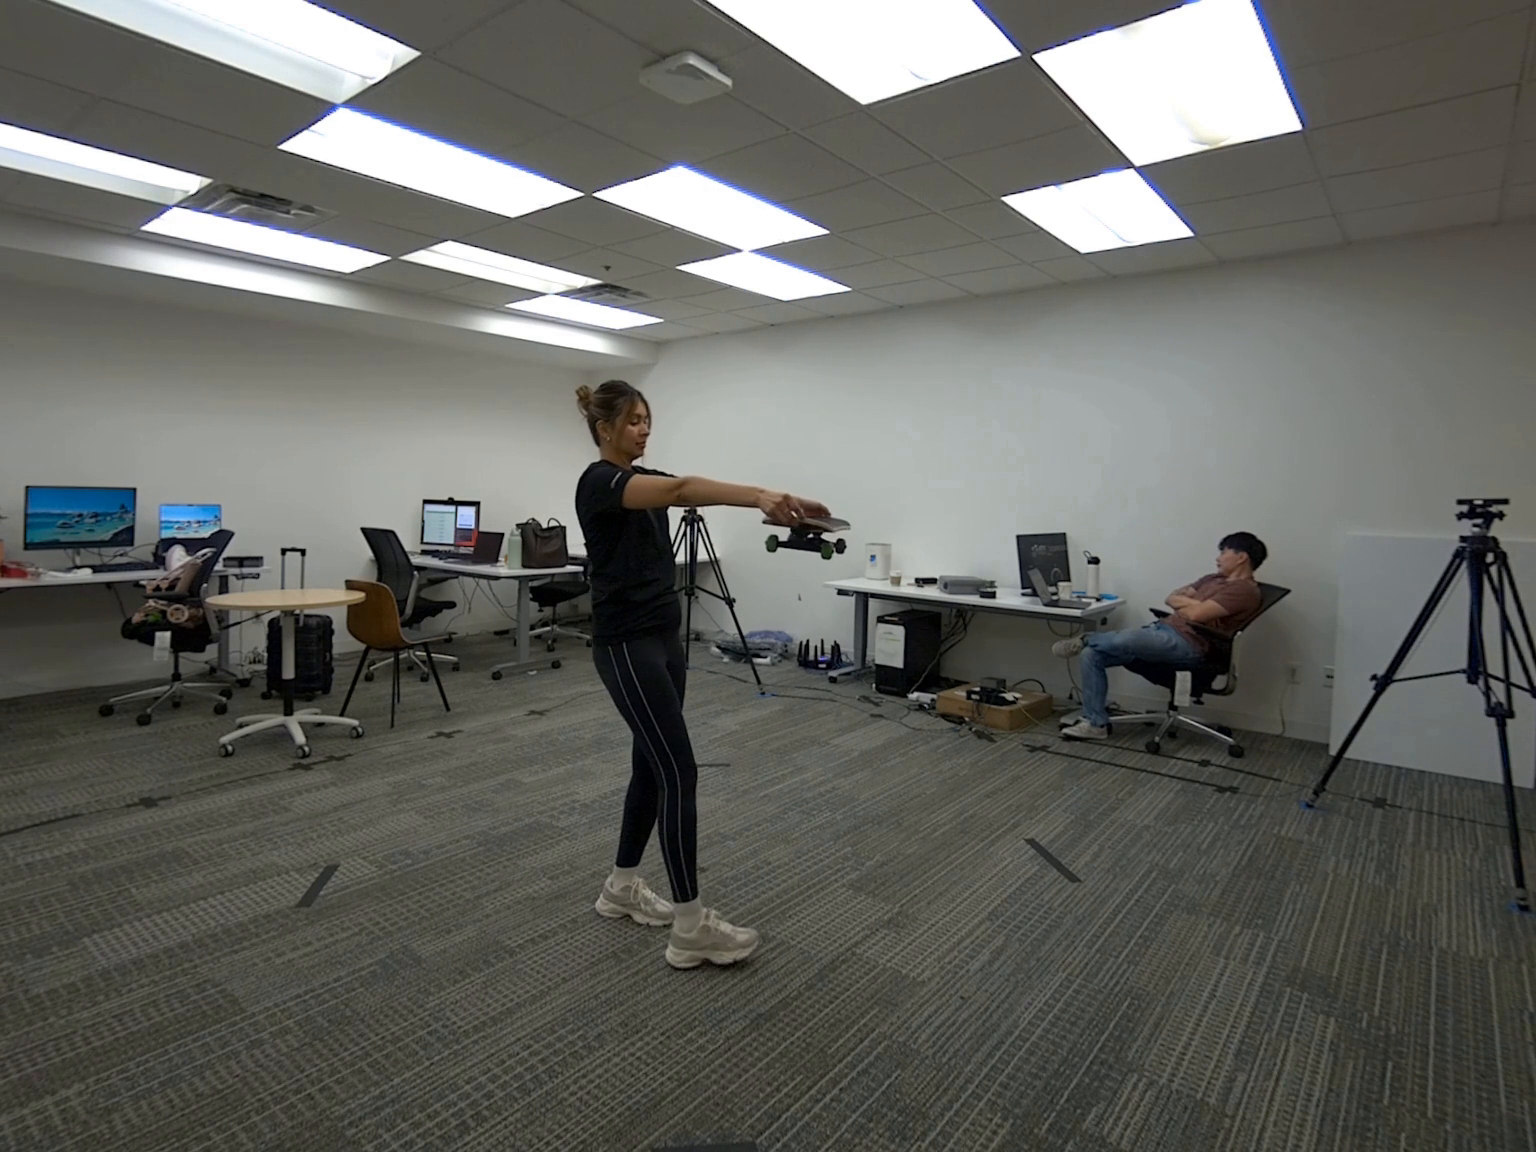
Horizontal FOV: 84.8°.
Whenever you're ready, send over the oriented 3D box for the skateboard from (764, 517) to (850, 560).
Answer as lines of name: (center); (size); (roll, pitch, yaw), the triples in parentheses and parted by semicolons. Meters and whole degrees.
skateboard: (0.120, -0.126, 2.543); (0.196, 0.110, 0.779); (8, 6, 7)
